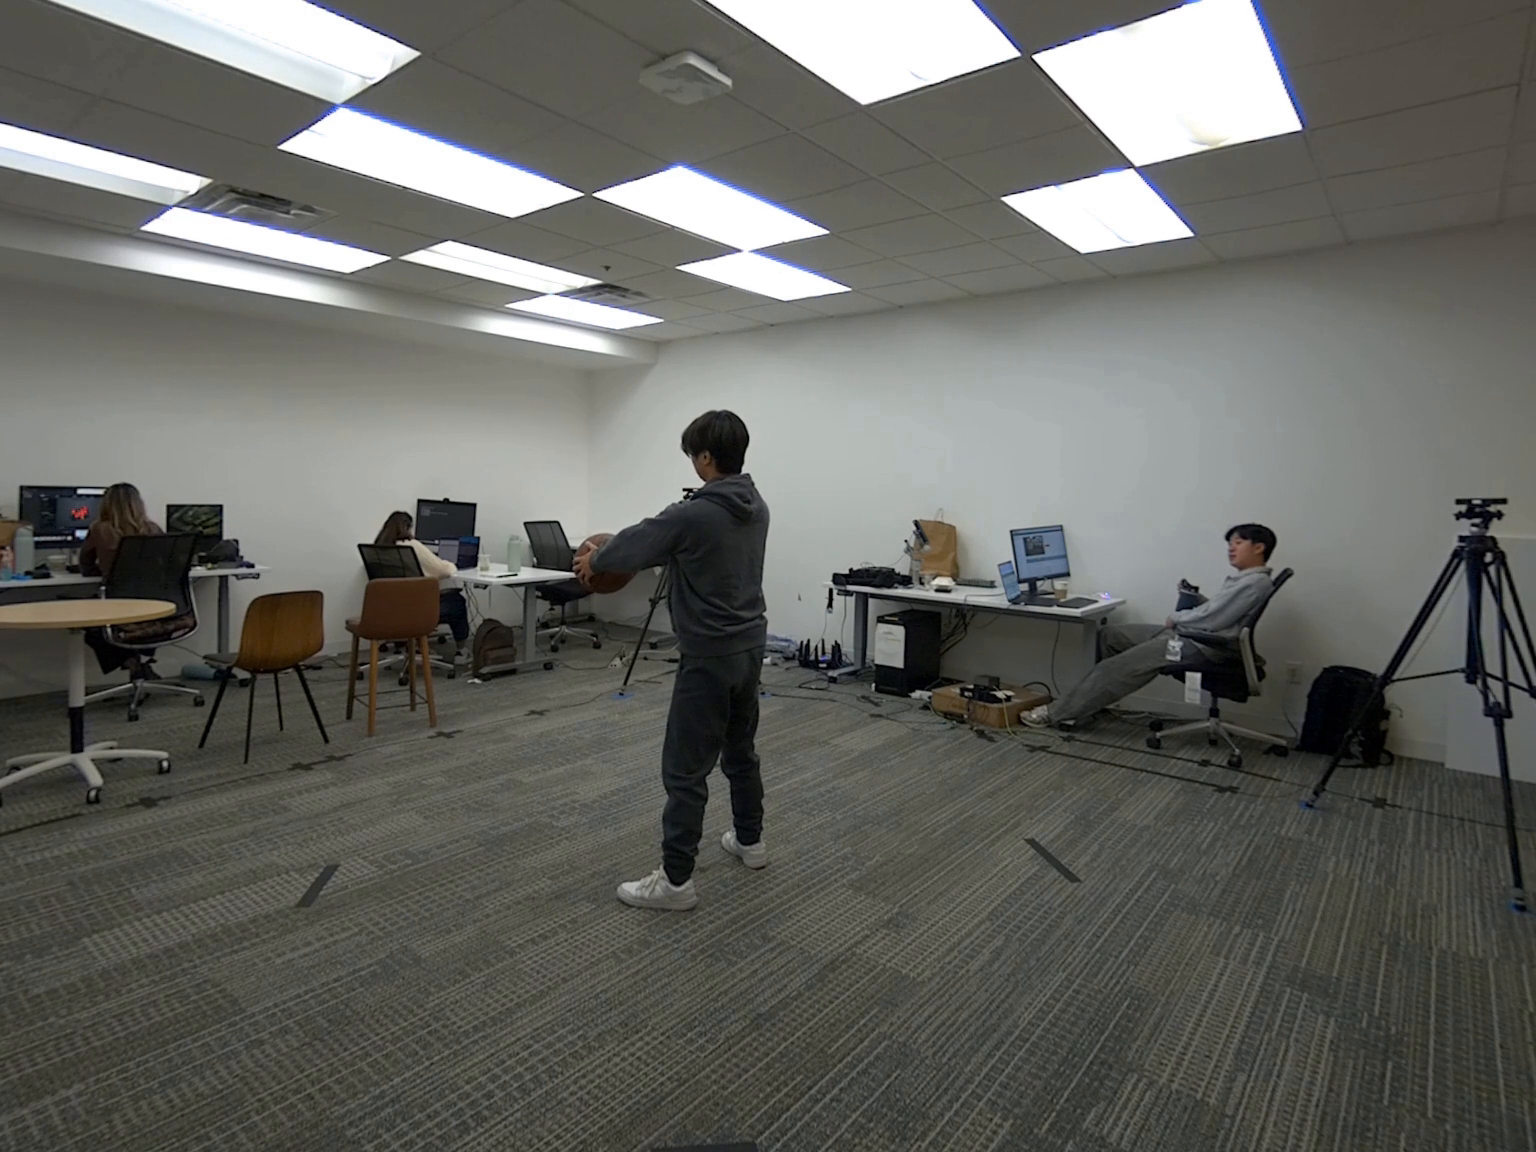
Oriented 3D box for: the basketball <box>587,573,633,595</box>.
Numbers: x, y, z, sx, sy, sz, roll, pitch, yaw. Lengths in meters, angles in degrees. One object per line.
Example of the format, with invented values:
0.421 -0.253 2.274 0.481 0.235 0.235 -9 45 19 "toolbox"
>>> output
-0.646 -0.047 3.333 0.235 0.235 0.237 1 4 -2 "basketball"
